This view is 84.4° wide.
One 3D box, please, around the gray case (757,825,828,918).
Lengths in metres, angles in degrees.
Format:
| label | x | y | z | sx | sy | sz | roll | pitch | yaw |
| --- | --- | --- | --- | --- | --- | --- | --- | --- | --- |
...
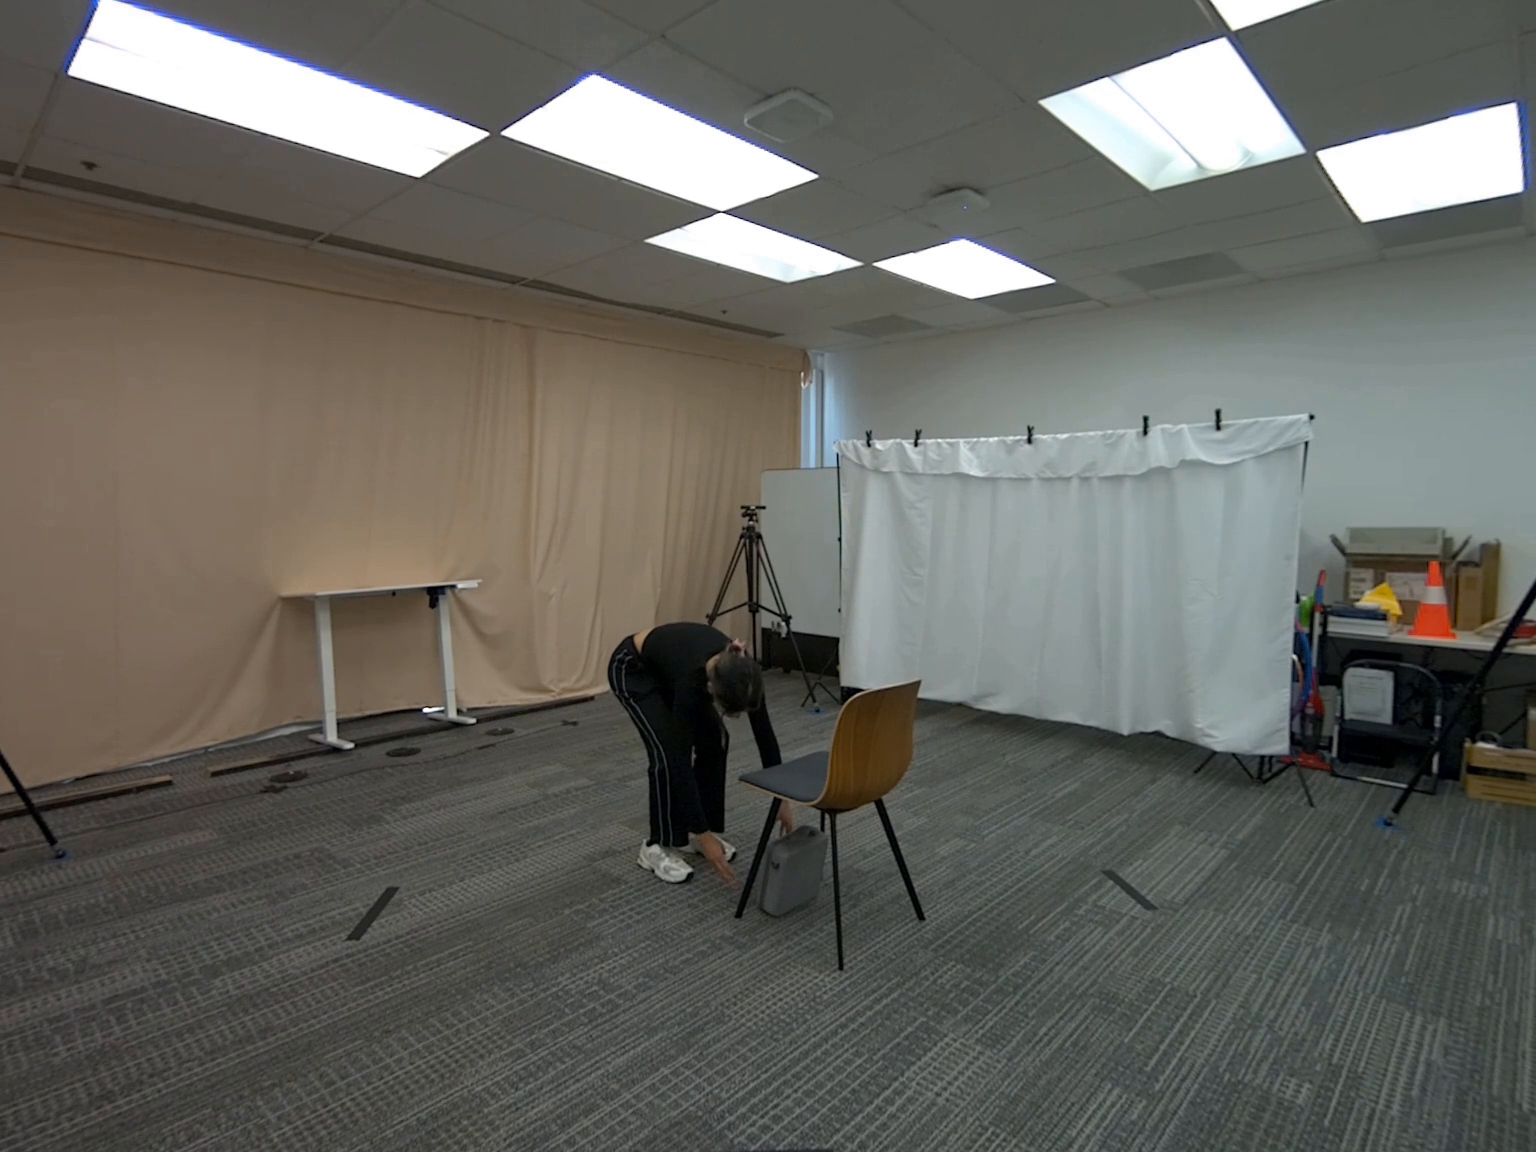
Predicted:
| label | x | y | z | sx | sy | sz | roll | pitch | yaw |
| --- | --- | --- | --- | --- | --- | --- | --- | --- | --- |
| gray case | 0.090 | 1.012 | 2.919 | 0.108 | 0.259 | 0.249 | 21 | 18 | 41 |
